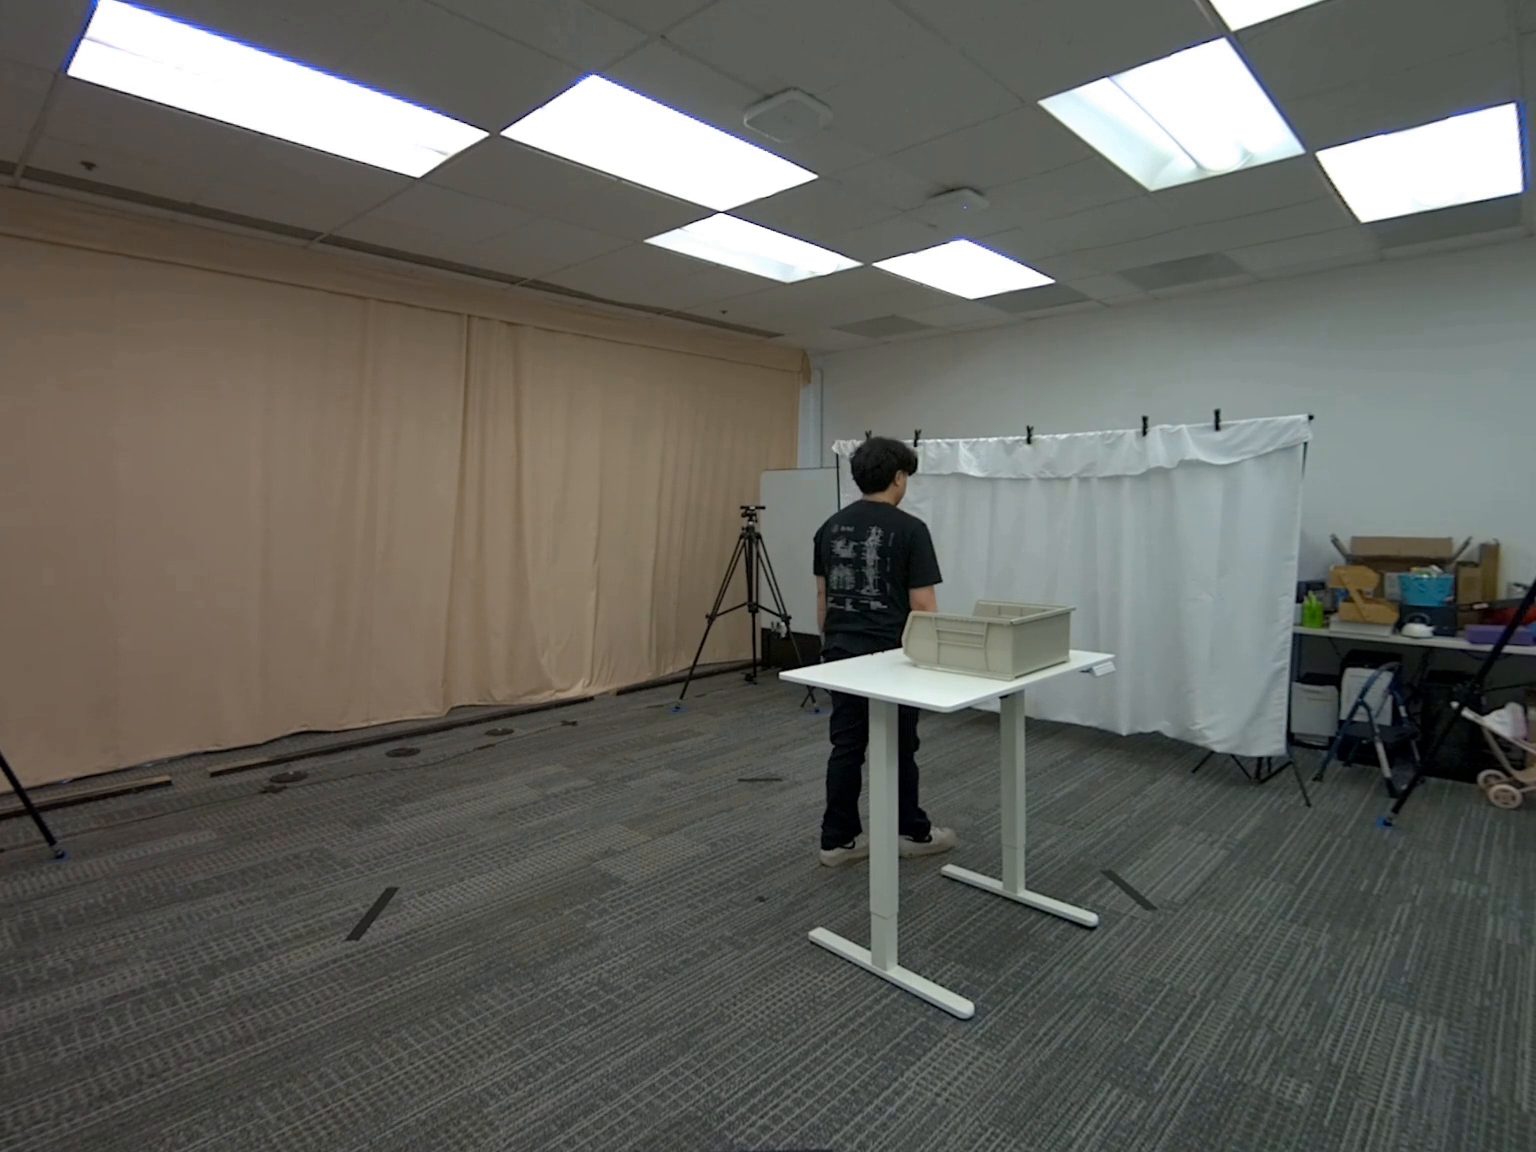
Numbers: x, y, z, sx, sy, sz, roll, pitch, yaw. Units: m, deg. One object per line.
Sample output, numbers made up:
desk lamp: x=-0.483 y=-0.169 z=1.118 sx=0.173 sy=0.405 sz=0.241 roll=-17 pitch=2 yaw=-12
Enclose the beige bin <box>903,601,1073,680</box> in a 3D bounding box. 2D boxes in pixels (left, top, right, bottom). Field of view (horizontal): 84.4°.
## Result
beige bin: x=0.703 y=0.194 z=2.691 sx=0.390 sy=0.188 sz=0.409 roll=5 pitch=7 yaw=44
